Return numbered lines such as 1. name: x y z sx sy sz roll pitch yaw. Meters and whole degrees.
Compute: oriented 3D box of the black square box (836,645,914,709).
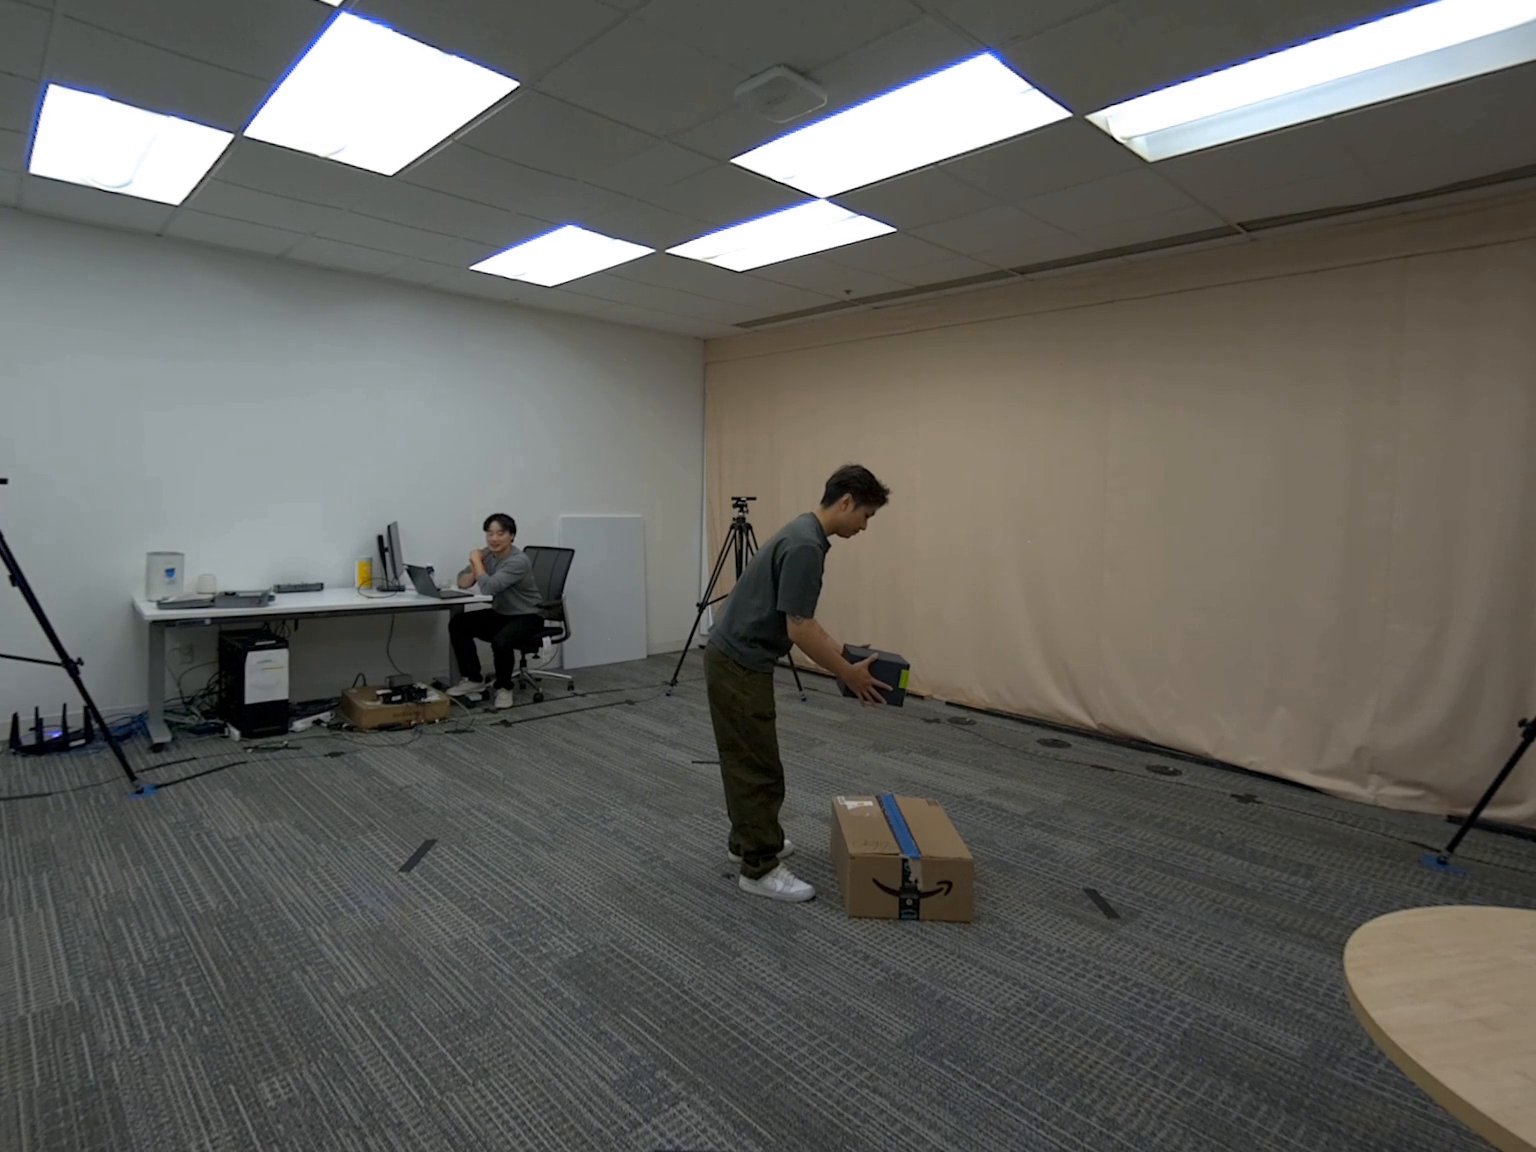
1. black square box: 0.380 0.360 3.058 0.217 0.156 0.228 10 1 -1
